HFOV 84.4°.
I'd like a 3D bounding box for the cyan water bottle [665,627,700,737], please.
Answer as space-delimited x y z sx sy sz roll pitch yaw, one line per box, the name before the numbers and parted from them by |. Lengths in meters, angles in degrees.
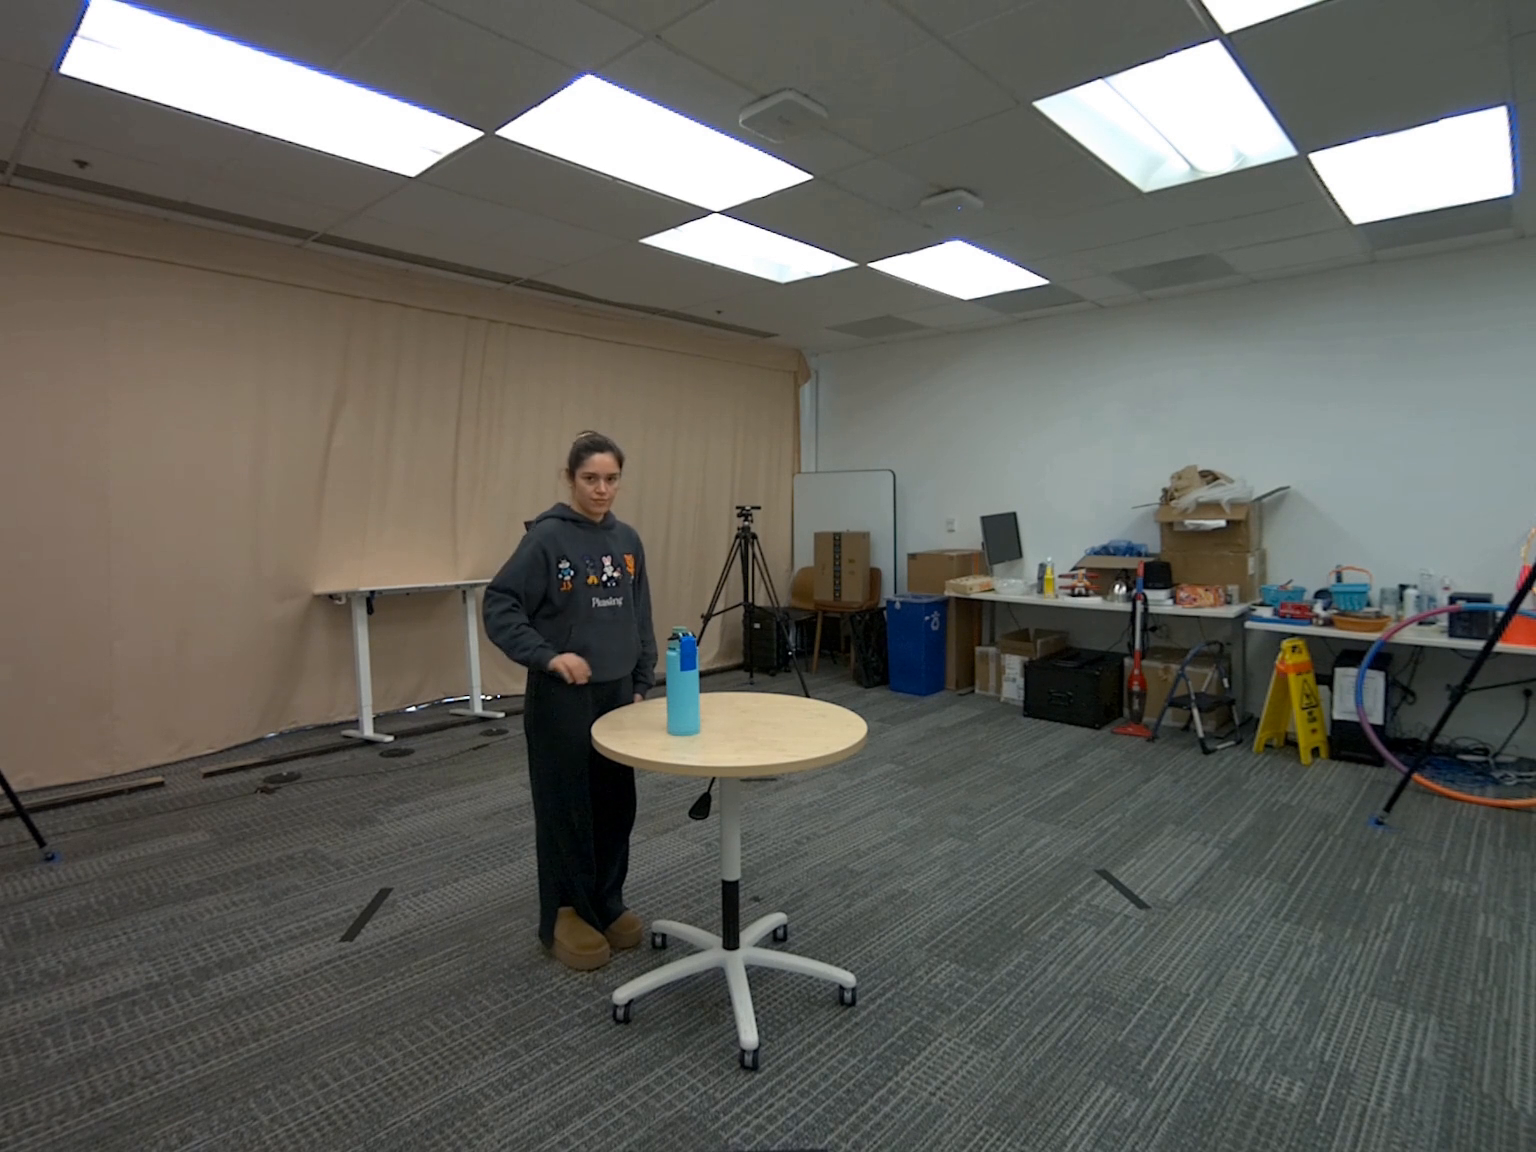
cyan water bottle | -0.220 0.285 2.267 0.092 0.283 0.092 -2 3 -2
